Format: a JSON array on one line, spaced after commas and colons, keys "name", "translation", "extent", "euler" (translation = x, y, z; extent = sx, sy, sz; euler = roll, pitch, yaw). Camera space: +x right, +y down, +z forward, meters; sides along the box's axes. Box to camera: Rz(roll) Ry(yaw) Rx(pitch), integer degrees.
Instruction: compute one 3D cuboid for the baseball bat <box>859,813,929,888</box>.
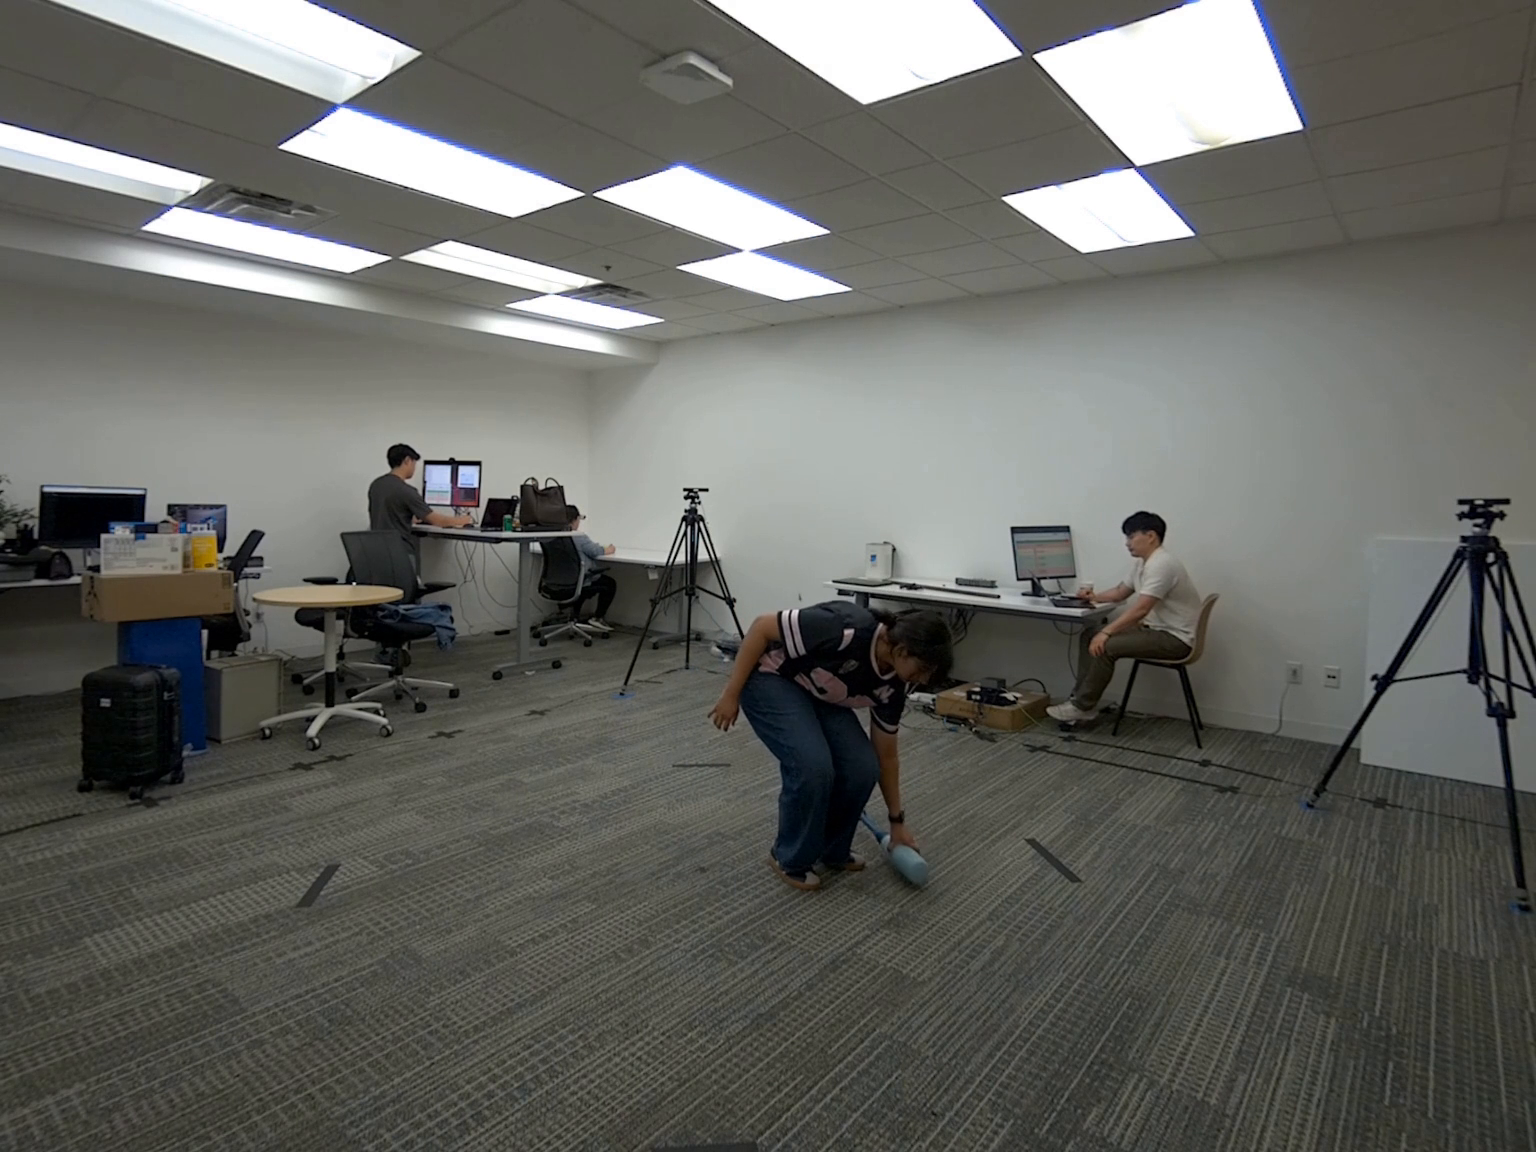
[{"name": "baseball bat", "translation": [0.463, 1.001, 3.231], "extent": [0.088, 0.088, 0.554], "euler": [0, 7, -16]}]
